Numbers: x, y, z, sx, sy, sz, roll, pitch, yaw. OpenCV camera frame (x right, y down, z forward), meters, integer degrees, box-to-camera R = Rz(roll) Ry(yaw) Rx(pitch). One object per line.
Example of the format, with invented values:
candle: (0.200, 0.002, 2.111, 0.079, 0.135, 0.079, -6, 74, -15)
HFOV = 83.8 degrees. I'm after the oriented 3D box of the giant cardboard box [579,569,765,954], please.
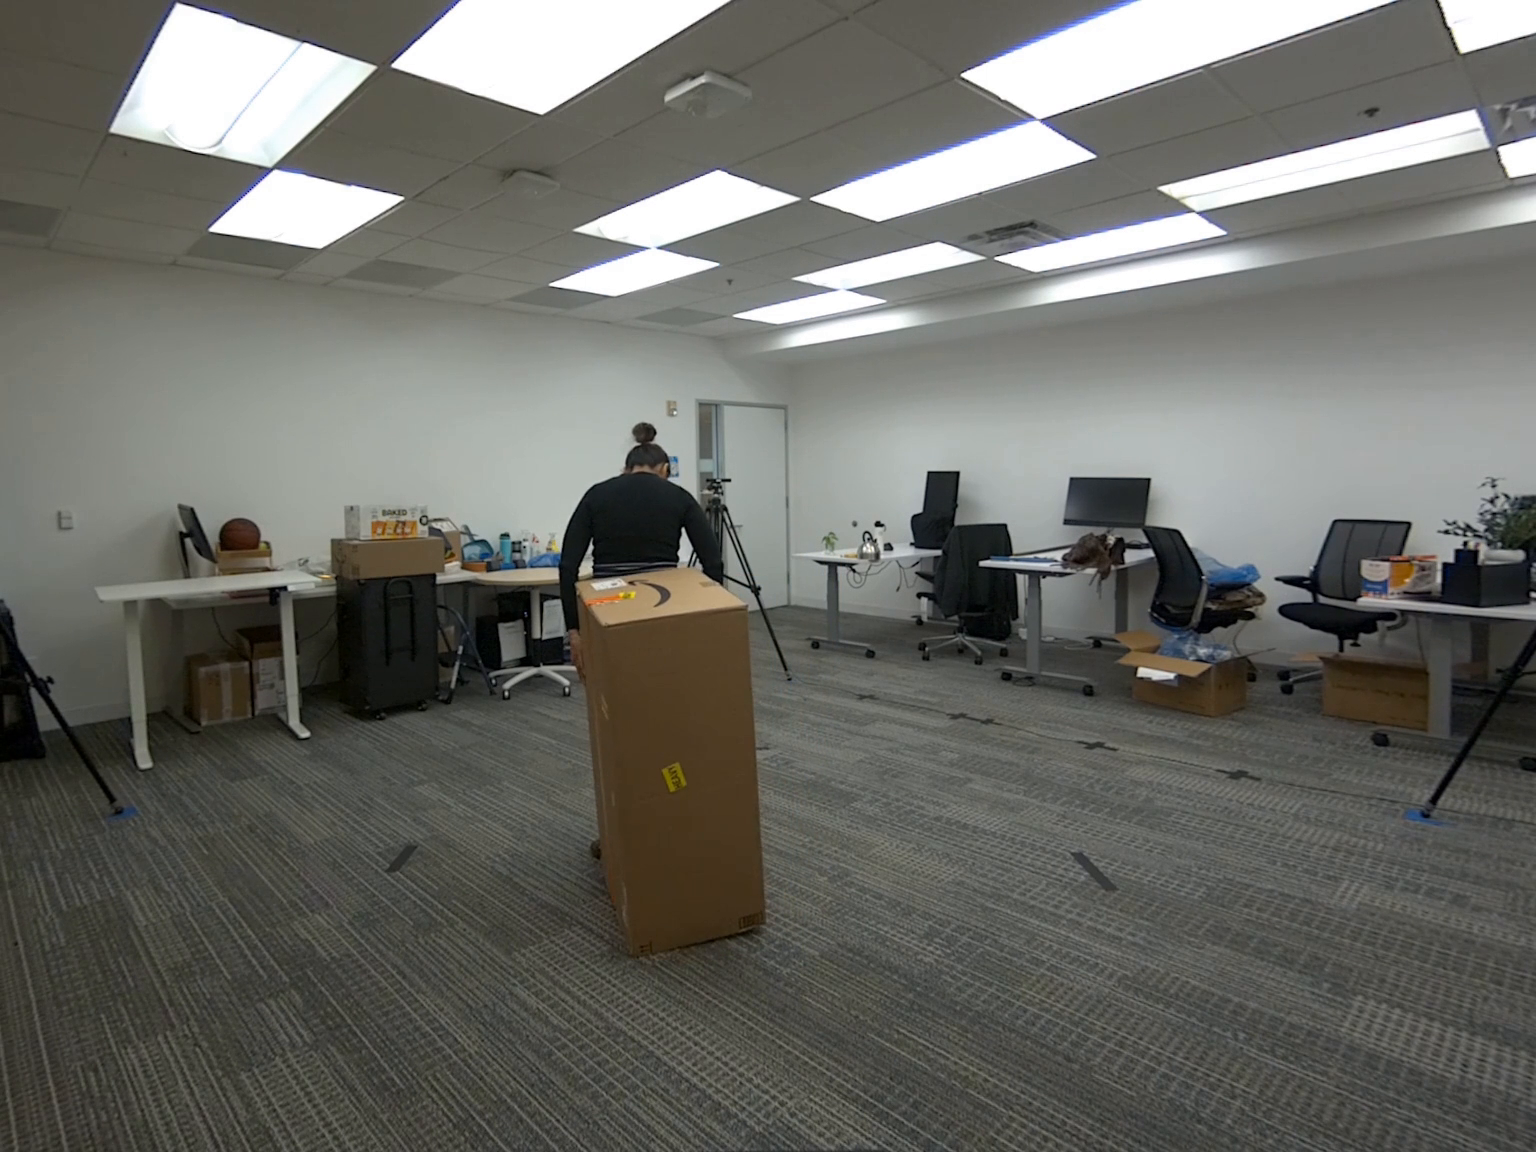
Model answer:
giant cardboard box: (-0.324, 0.551, 2.745, 0.420, 1.016, 0.592, -7, 10, -19)
